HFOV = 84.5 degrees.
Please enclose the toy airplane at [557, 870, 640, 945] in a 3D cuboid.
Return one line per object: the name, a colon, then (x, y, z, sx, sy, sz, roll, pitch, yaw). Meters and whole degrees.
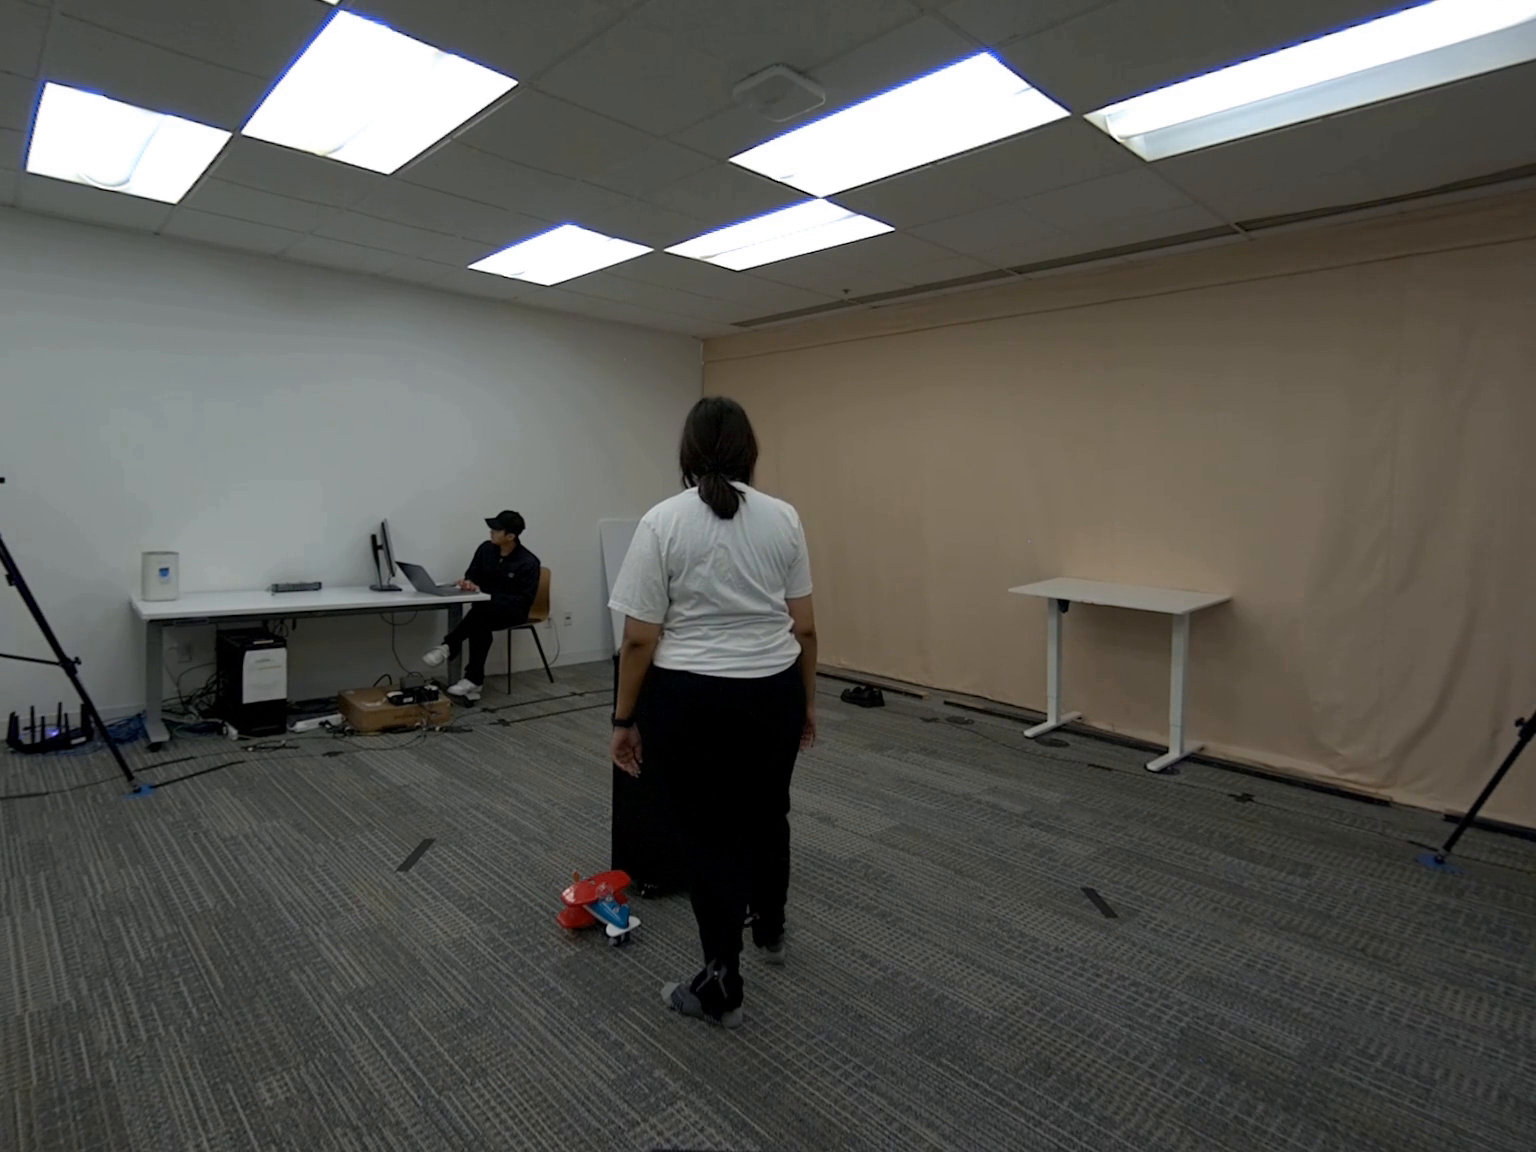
toy airplane: (-0.531, 1.064, 2.687, 0.262, 0.156, 0.249, 1, 5, 13)
